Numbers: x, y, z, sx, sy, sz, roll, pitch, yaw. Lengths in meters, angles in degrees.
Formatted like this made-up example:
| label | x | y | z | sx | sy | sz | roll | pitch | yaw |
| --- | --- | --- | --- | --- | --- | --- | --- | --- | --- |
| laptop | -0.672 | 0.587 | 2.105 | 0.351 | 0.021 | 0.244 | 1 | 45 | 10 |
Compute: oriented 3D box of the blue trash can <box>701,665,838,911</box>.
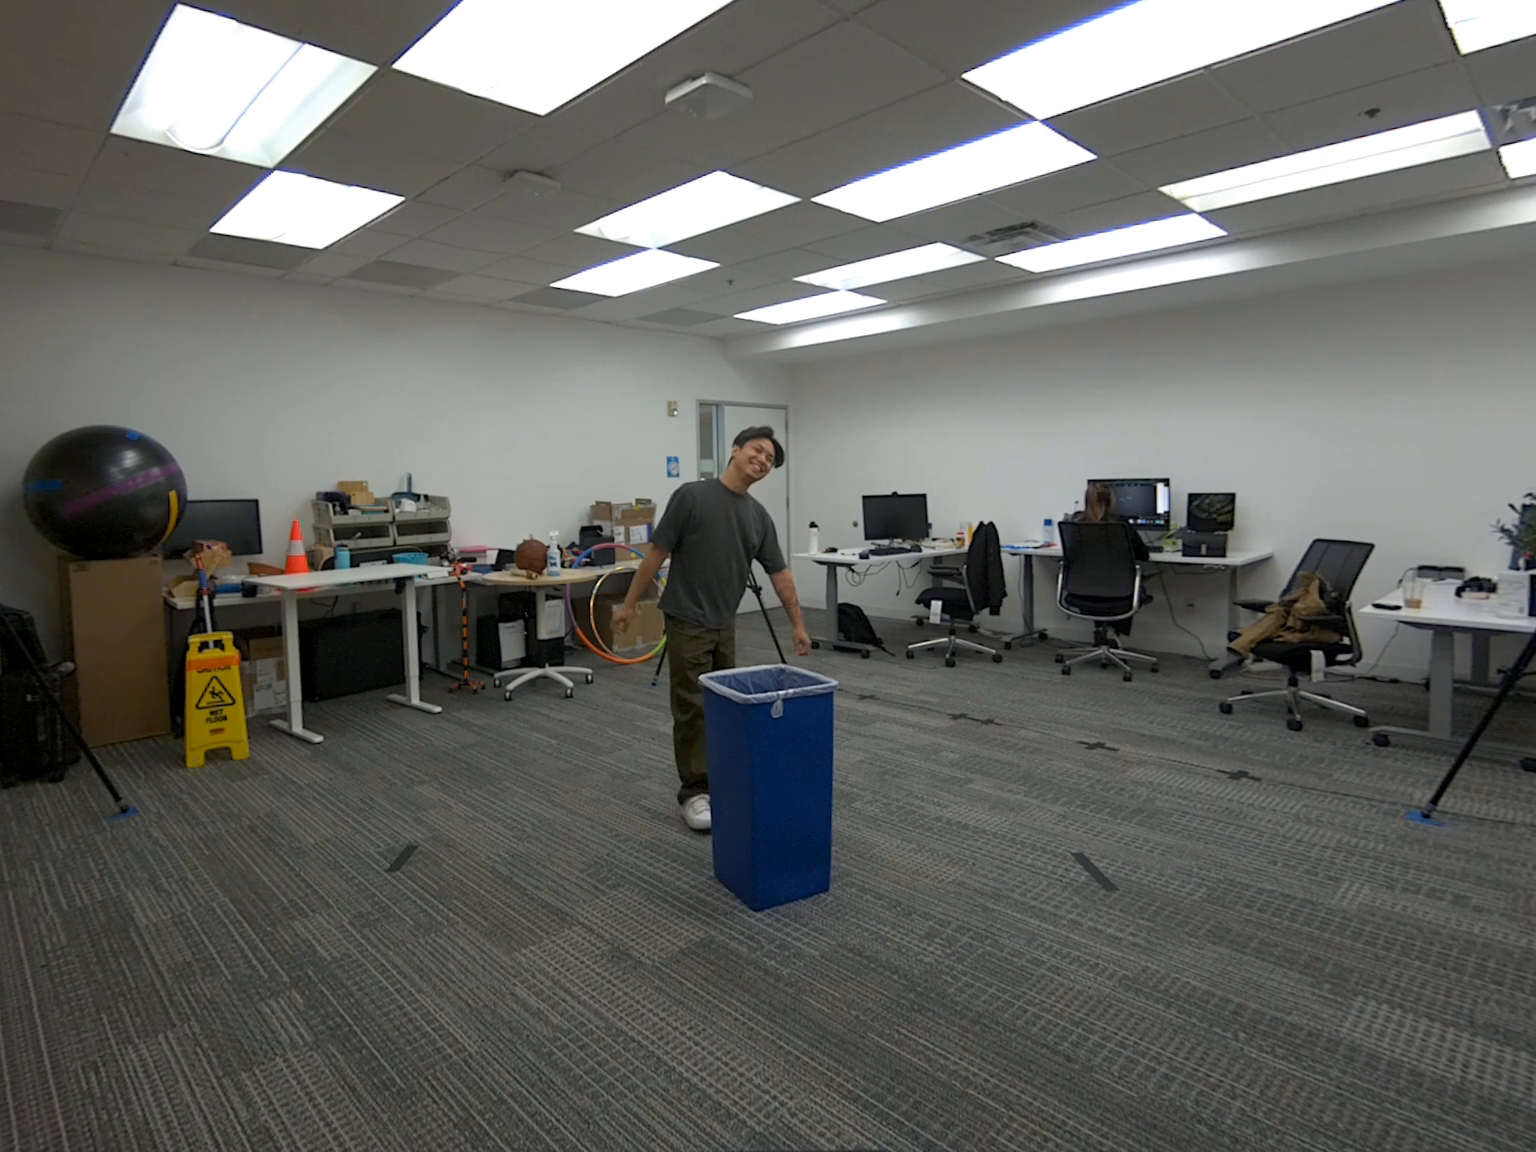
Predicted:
| label | x | y | z | sx | sy | sz | roll | pitch | yaw |
| --- | --- | --- | --- | --- | --- | --- | --- | --- | --- |
| blue trash can | -0.001 | 0.703 | 2.941 | 0.369 | 0.711 | 0.384 | -3 | 5 | -29 |
